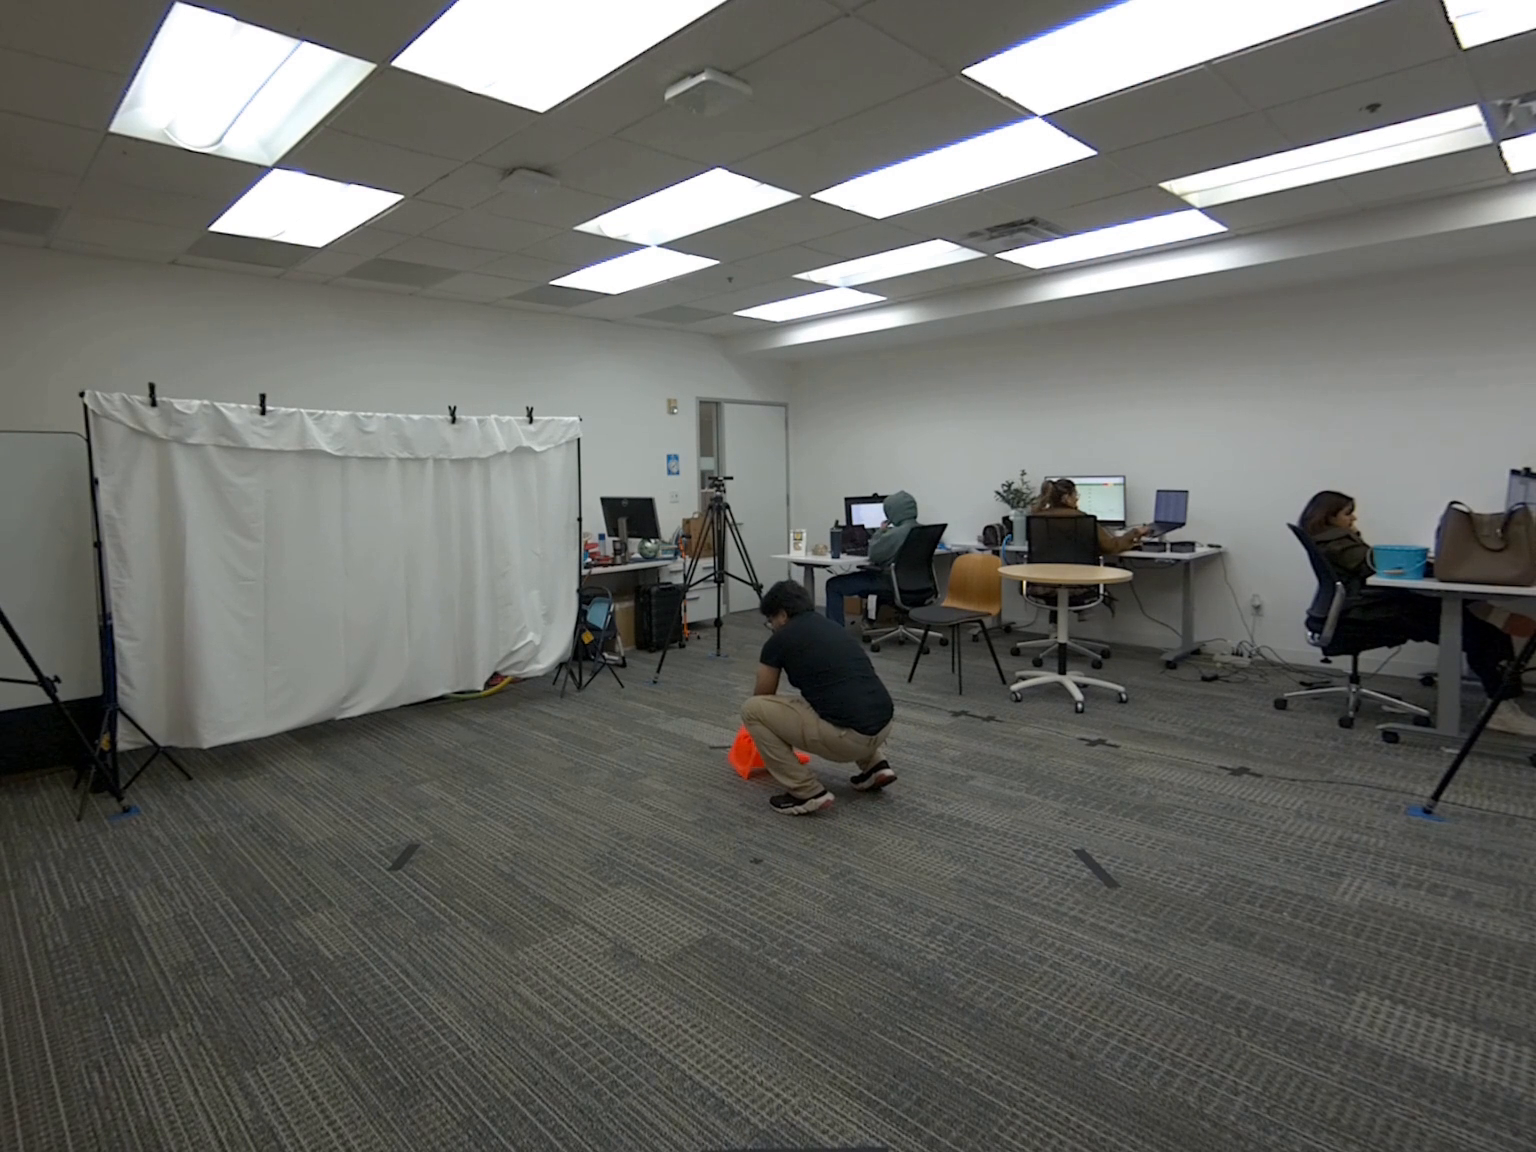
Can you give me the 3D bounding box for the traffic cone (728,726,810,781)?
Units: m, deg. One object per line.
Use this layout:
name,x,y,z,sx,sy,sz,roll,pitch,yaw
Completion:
traffic cone,0.044,0.867,4.096,0.372,0.202,0.212,16,10,-29
